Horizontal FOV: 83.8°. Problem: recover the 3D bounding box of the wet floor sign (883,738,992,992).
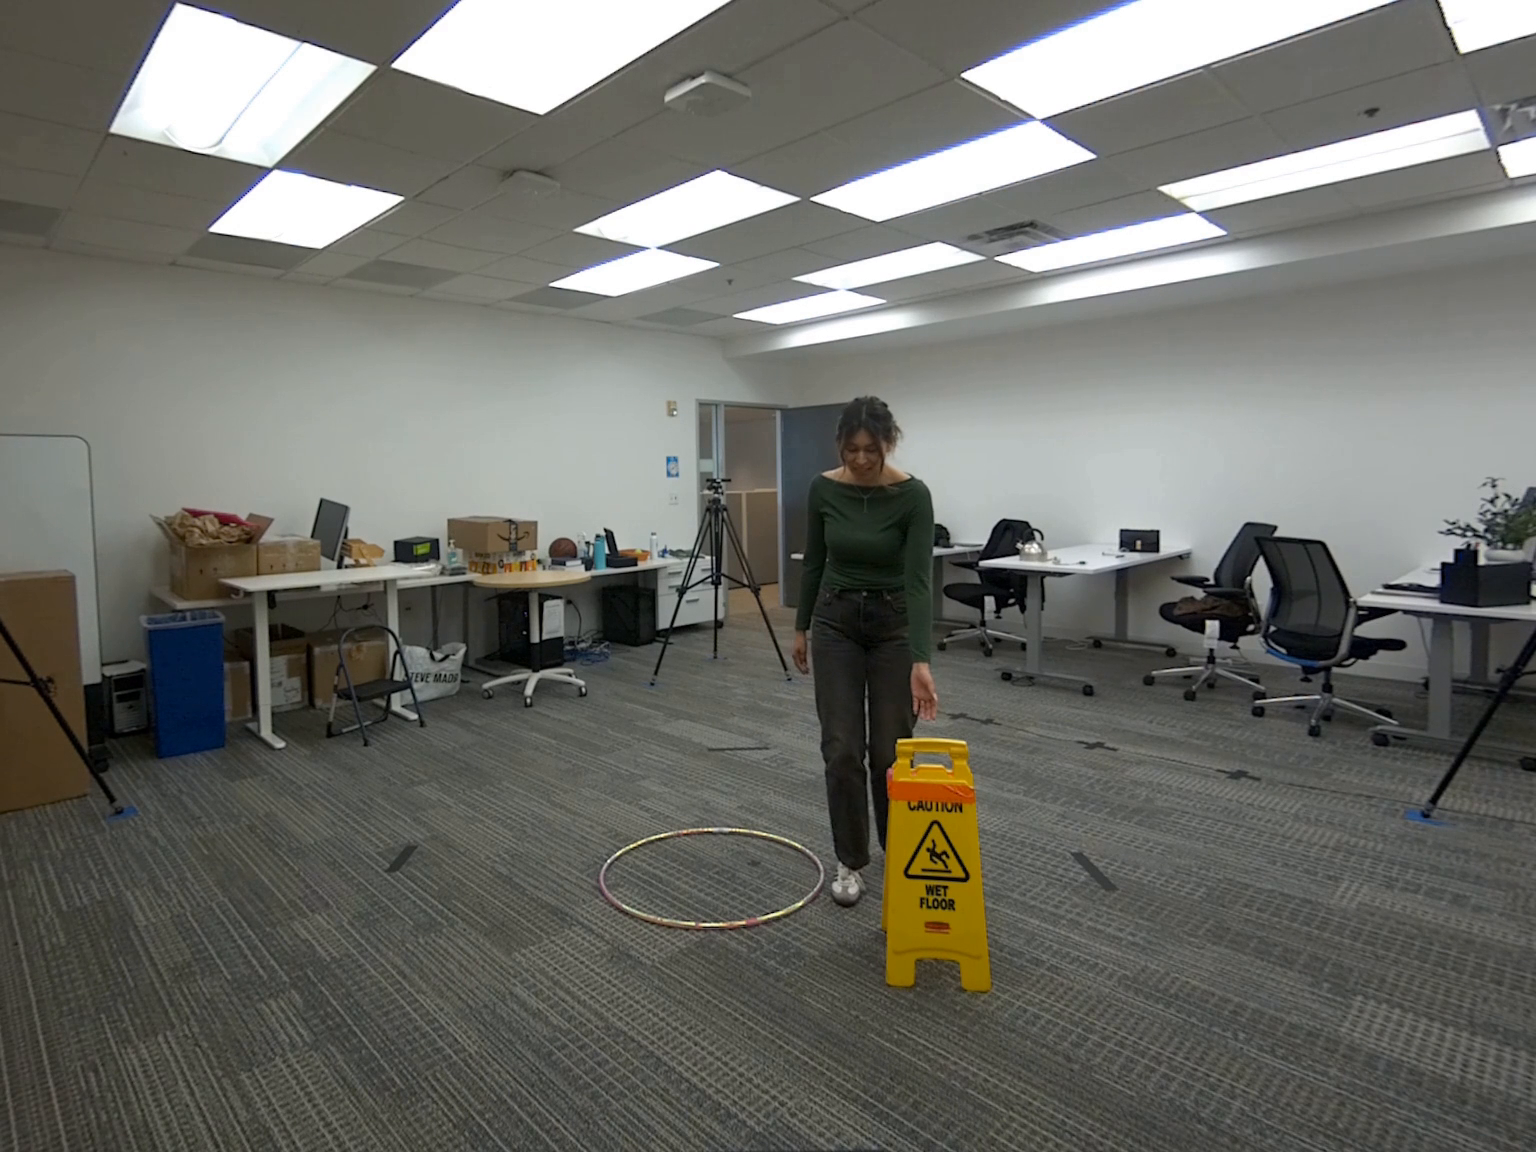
[{"bbox_3d":[0.478,0.793,2.452,0.284,0.644,0.289,-1,4,7],"label":"wet floor sign"}]
